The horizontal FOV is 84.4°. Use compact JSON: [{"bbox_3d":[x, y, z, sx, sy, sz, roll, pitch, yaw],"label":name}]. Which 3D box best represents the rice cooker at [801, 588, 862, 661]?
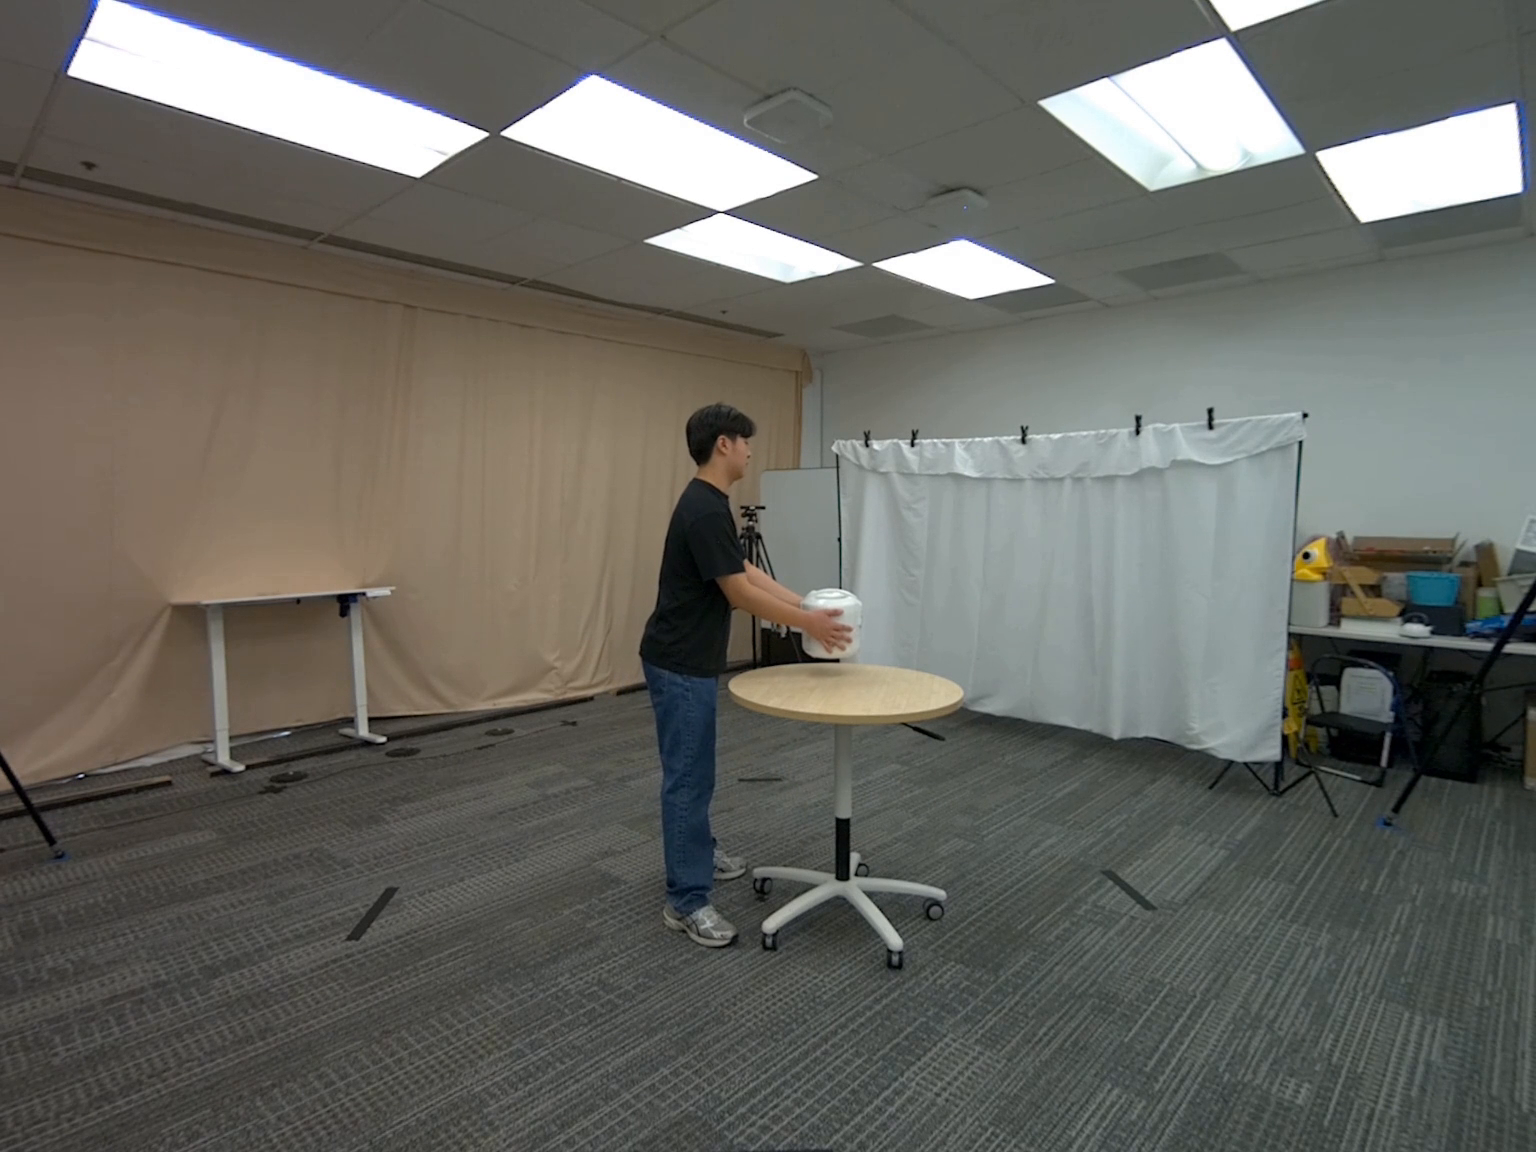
[{"bbox_3d":[0.229,0.160,2.957,0.223,0.232,0.216,-1,8,8],"label":"rice cooker"}]
